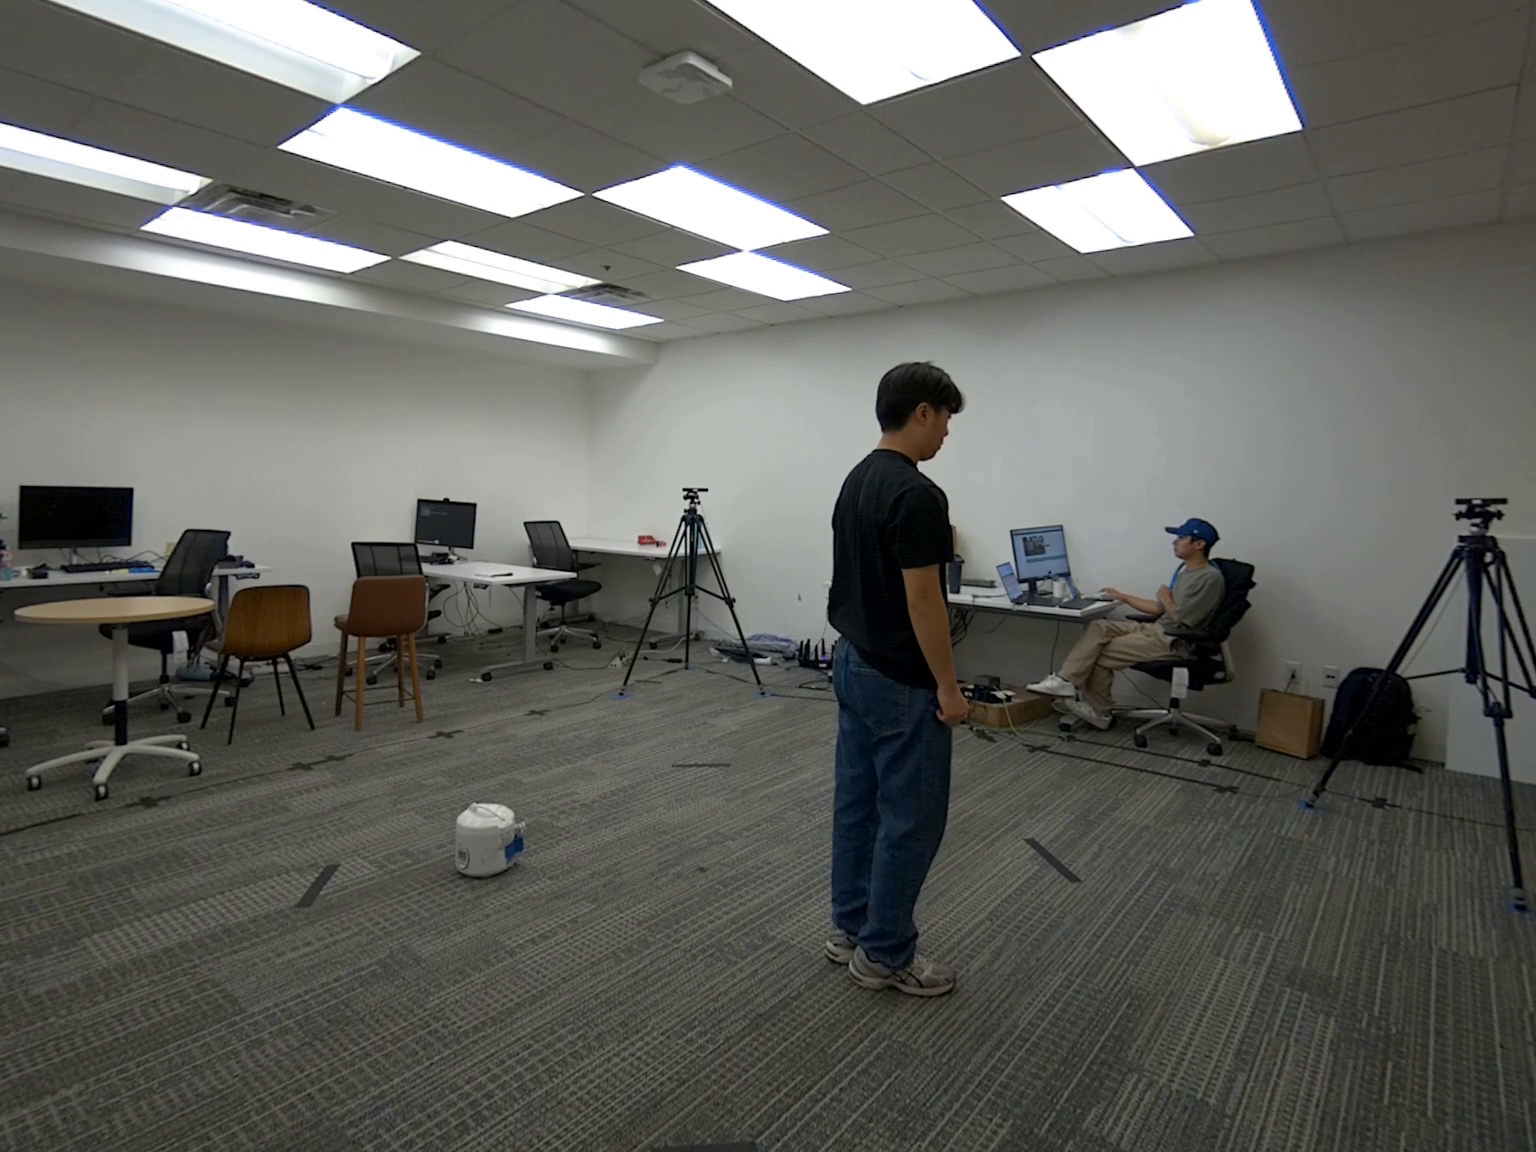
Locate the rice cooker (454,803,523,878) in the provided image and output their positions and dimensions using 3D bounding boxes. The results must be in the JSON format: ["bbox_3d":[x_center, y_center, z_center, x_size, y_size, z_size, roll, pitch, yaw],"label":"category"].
[{"bbox_3d":[-1.034,0.942,3.083,0.227,0.232,0.212,3,4,30],"label":"rice cooker"}]
